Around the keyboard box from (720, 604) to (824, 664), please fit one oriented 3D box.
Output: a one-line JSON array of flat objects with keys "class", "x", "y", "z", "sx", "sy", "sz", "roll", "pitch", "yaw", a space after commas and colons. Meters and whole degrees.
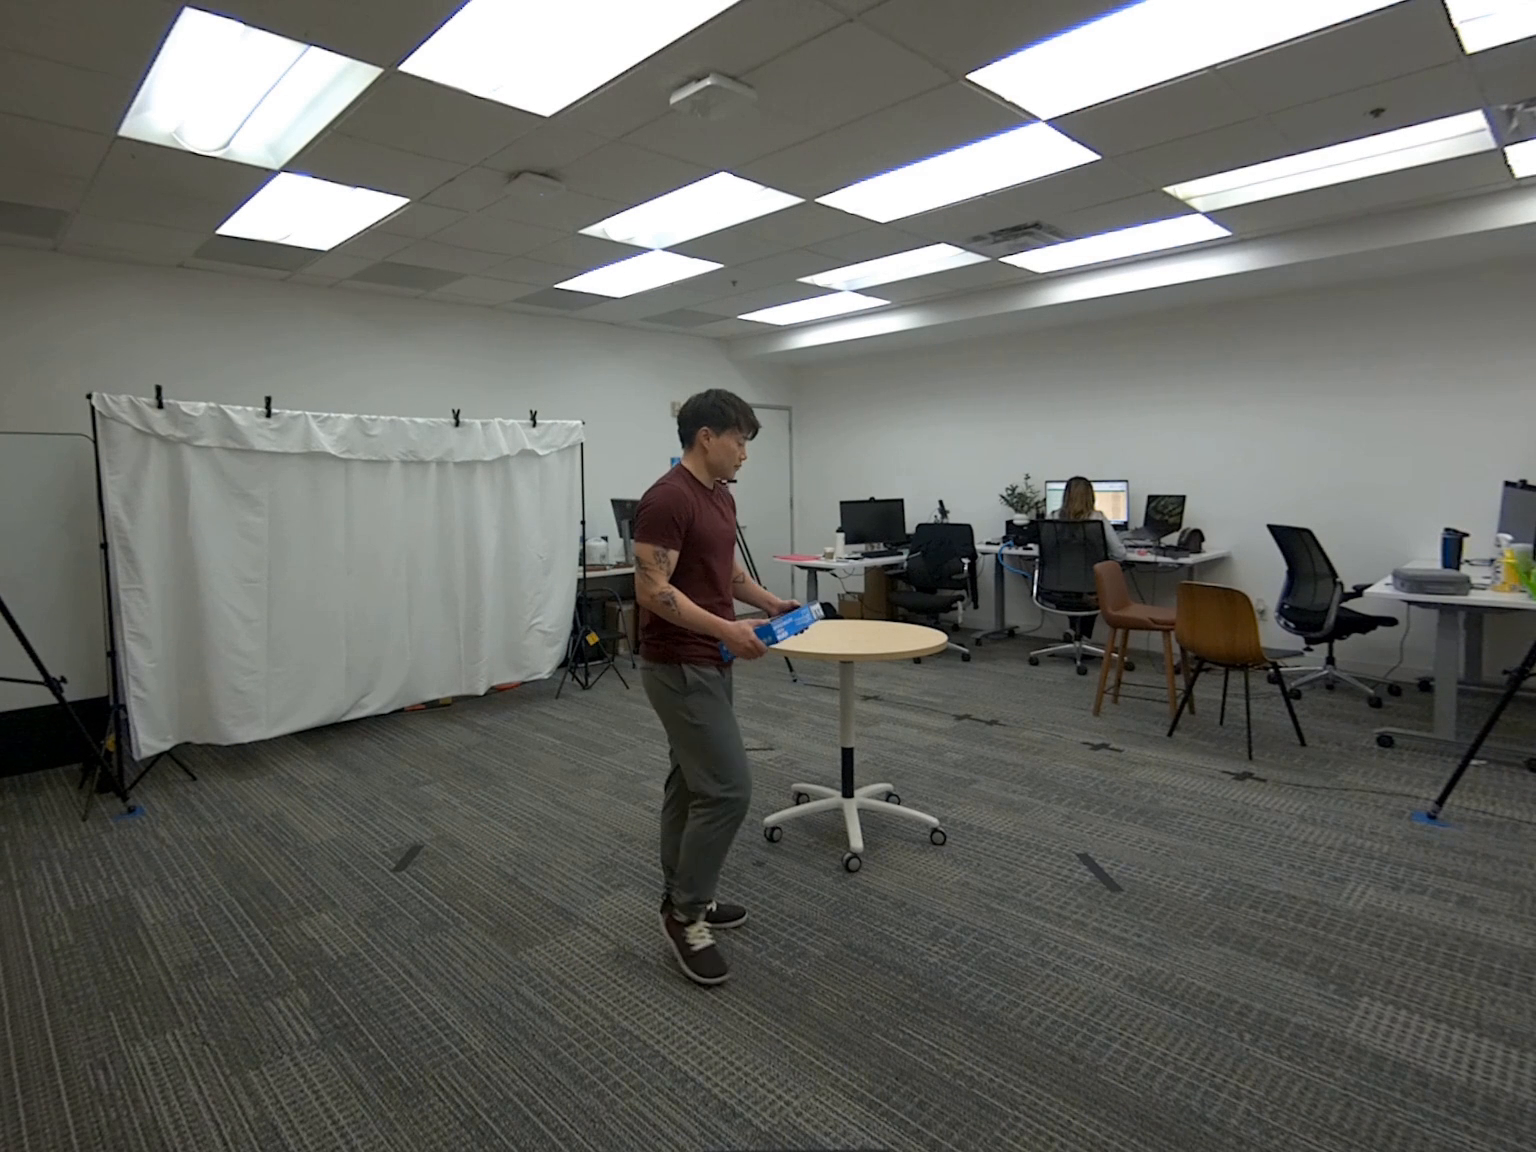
[{"class": "keyboard box", "x": 0.009, "y": 0.159, "z": 2.512, "sx": 0.178, "sy": 0.059, "sz": 0.429, "roll": -19, "pitch": -2, "yaw": 24}]
